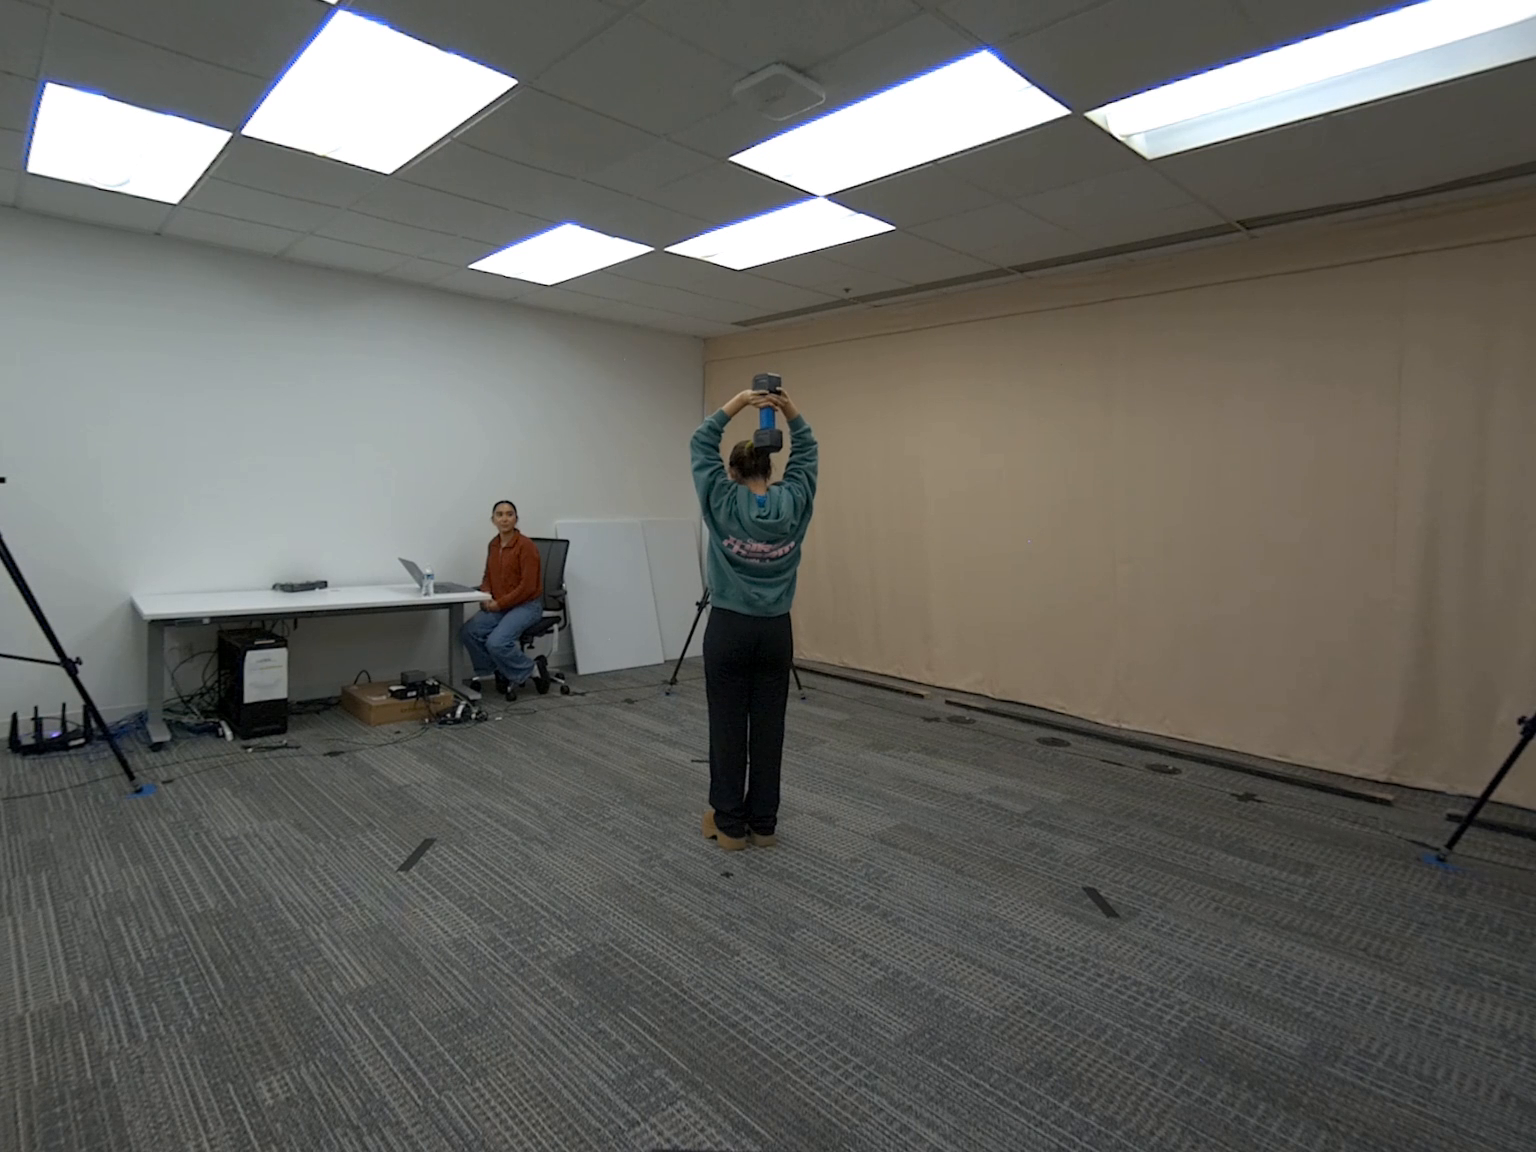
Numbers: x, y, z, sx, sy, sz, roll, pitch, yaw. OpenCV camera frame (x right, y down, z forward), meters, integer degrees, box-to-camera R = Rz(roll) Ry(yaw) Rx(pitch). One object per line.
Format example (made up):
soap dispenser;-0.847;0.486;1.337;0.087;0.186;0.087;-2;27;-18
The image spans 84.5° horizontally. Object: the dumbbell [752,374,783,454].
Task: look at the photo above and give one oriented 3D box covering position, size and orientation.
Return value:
dumbbell;-0.014;-0.622;3.226;0.108;0.295;0.123;1;-8;-11
